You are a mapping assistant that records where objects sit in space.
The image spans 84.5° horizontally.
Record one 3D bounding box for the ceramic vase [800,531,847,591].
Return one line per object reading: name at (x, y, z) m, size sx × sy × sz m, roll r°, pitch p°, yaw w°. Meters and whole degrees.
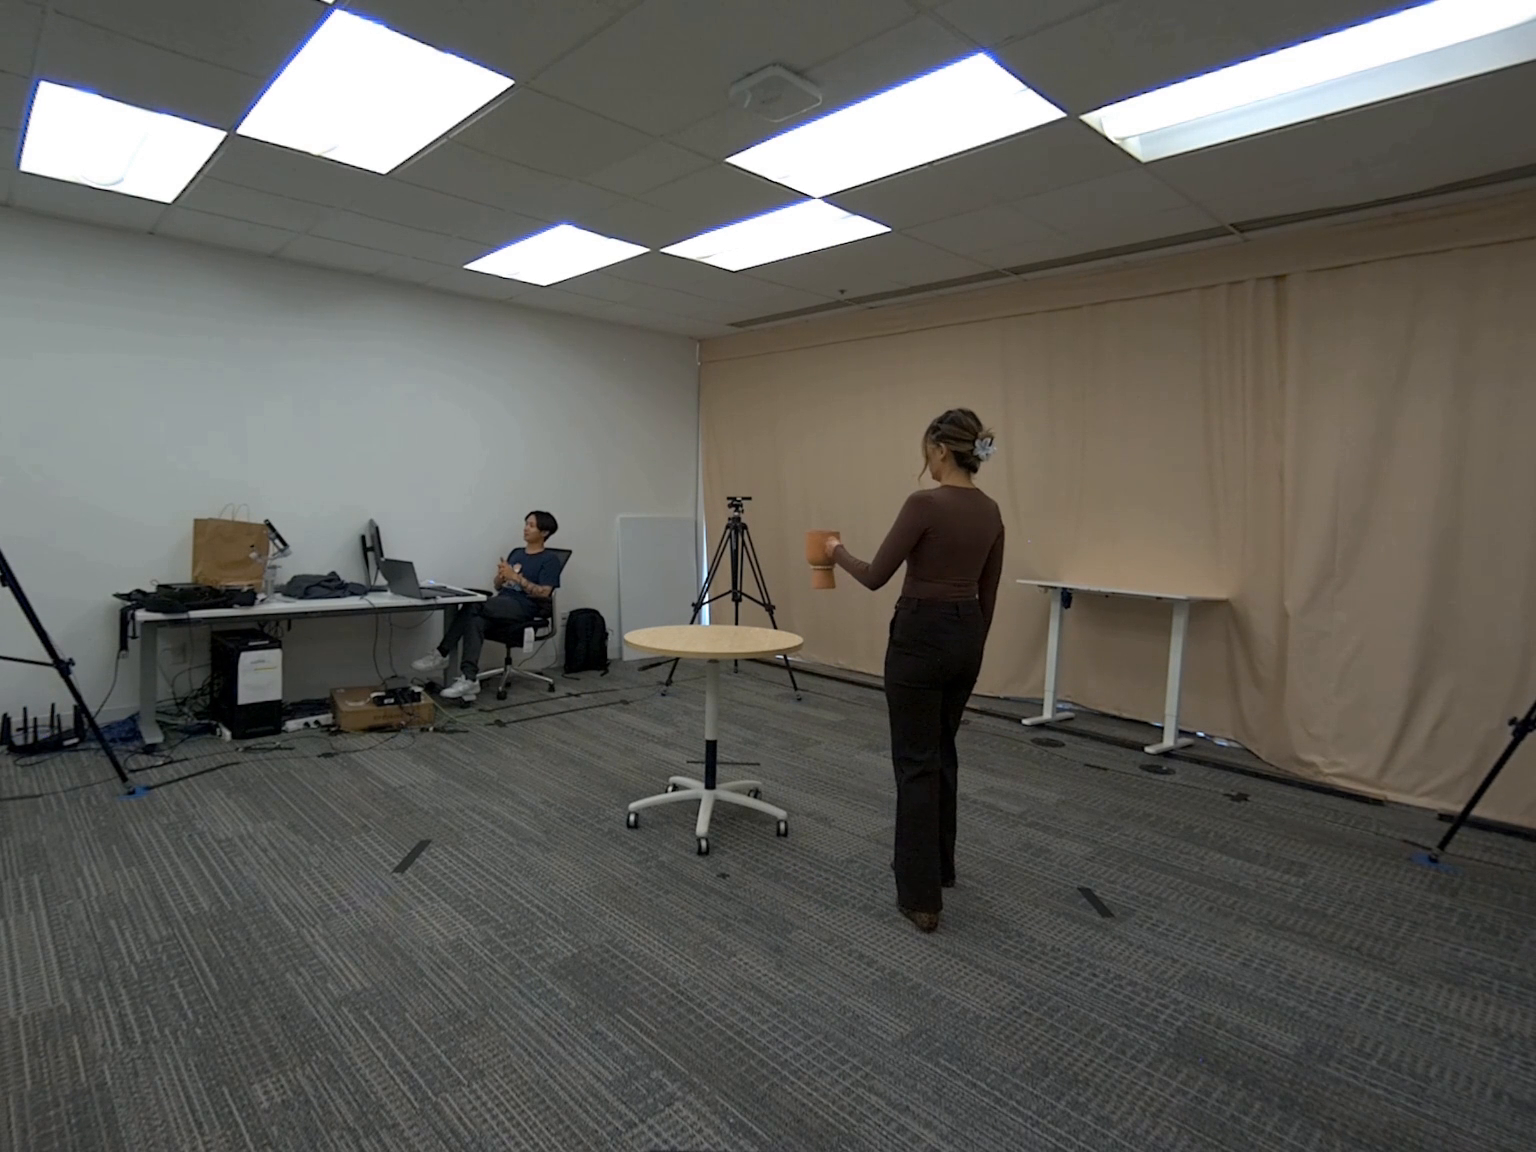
ceramic vase at (0.212, -0.062, 3.248) m, size 0.137 × 0.219 × 0.156 m, roll 0°, pitch 2°, yaw 20°
